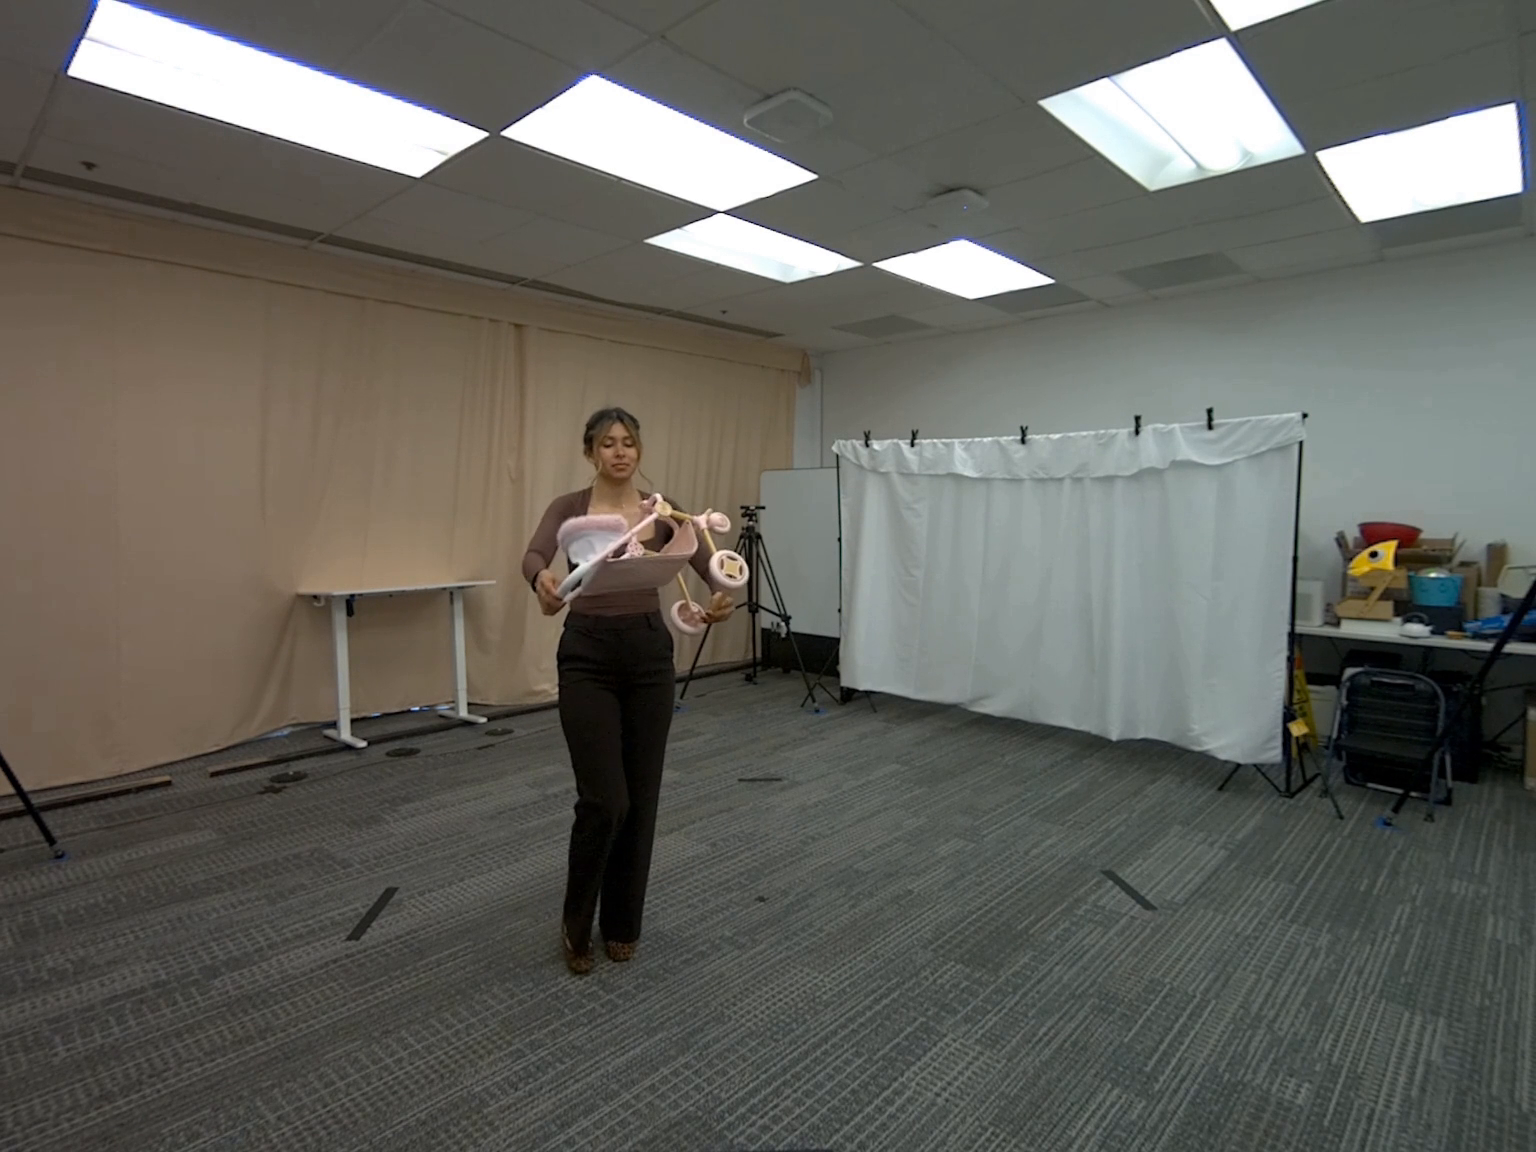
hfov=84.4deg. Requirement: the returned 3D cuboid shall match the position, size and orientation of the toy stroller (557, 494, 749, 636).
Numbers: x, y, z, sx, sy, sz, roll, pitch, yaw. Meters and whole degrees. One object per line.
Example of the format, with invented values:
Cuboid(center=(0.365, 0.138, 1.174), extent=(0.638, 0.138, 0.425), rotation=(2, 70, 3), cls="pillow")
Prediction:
Cuboid(center=(-0.300, -0.055, 2.206), extent=(0.520, 0.348, 0.284), rotation=(6, -31, -28), cls="toy stroller")
